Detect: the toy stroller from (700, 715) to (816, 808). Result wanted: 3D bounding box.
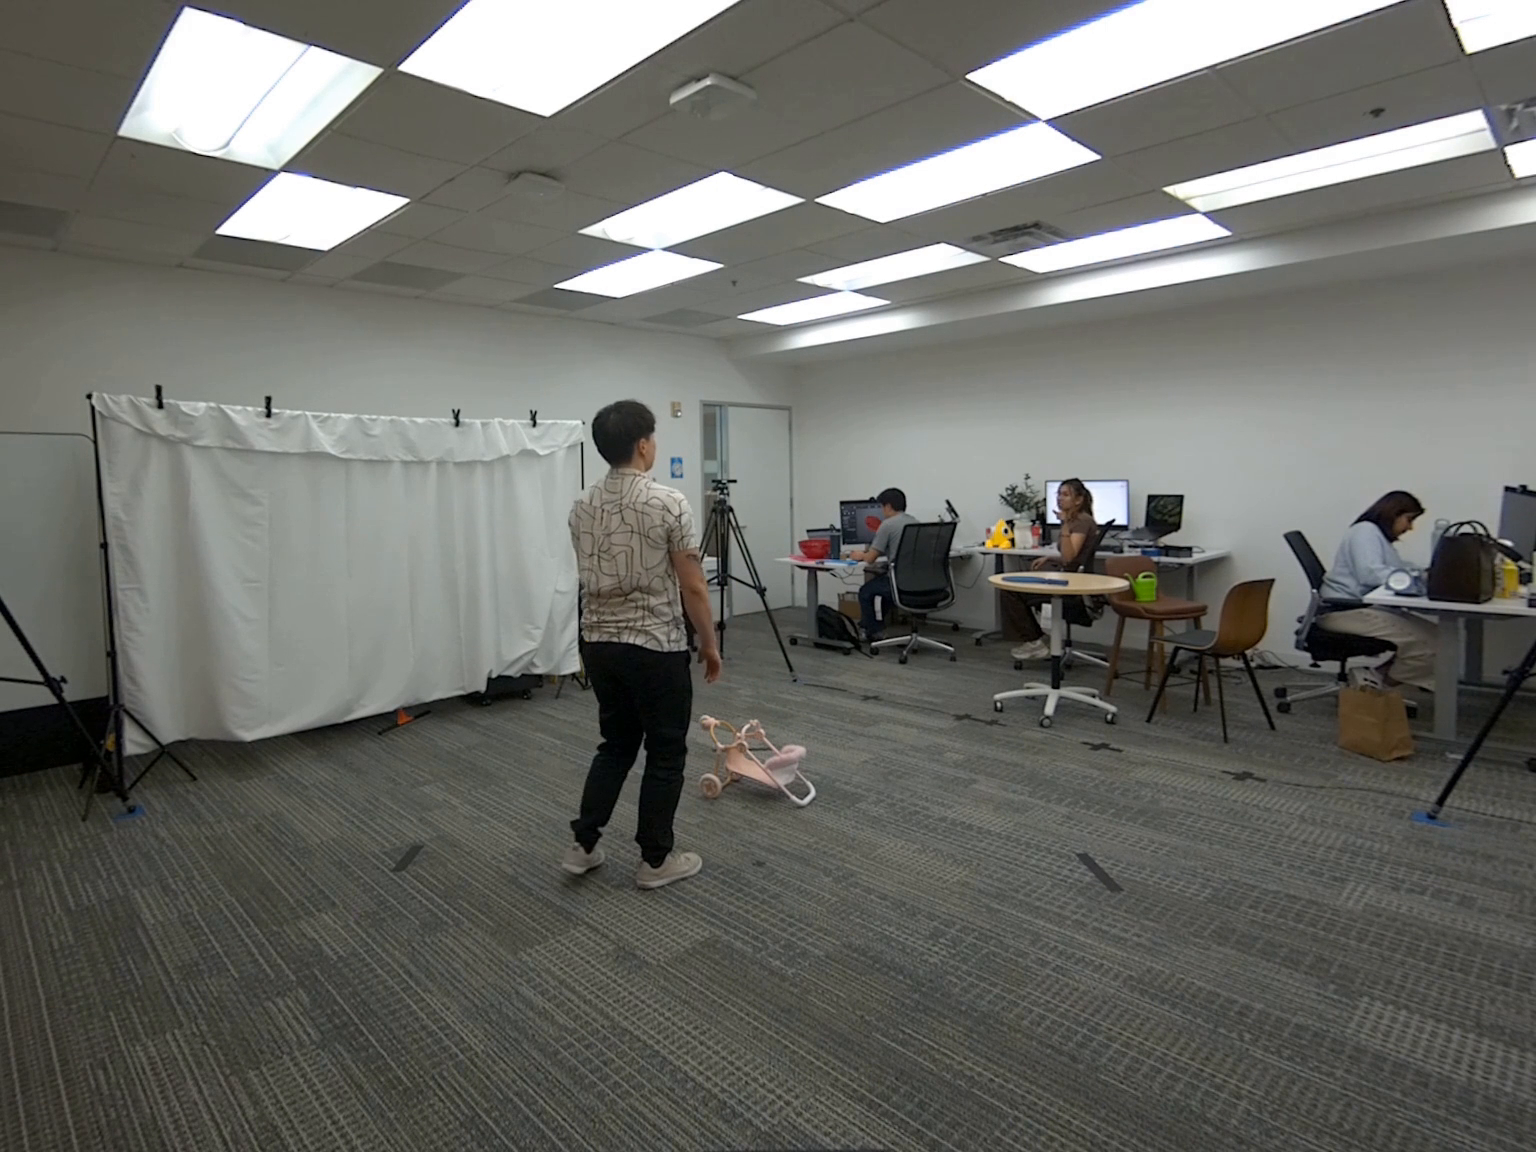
[{"bbox_3d":[-0.067,0.809,3.808,0.547,0.341,0.275,0,0,26],"label":"toy stroller"}]
